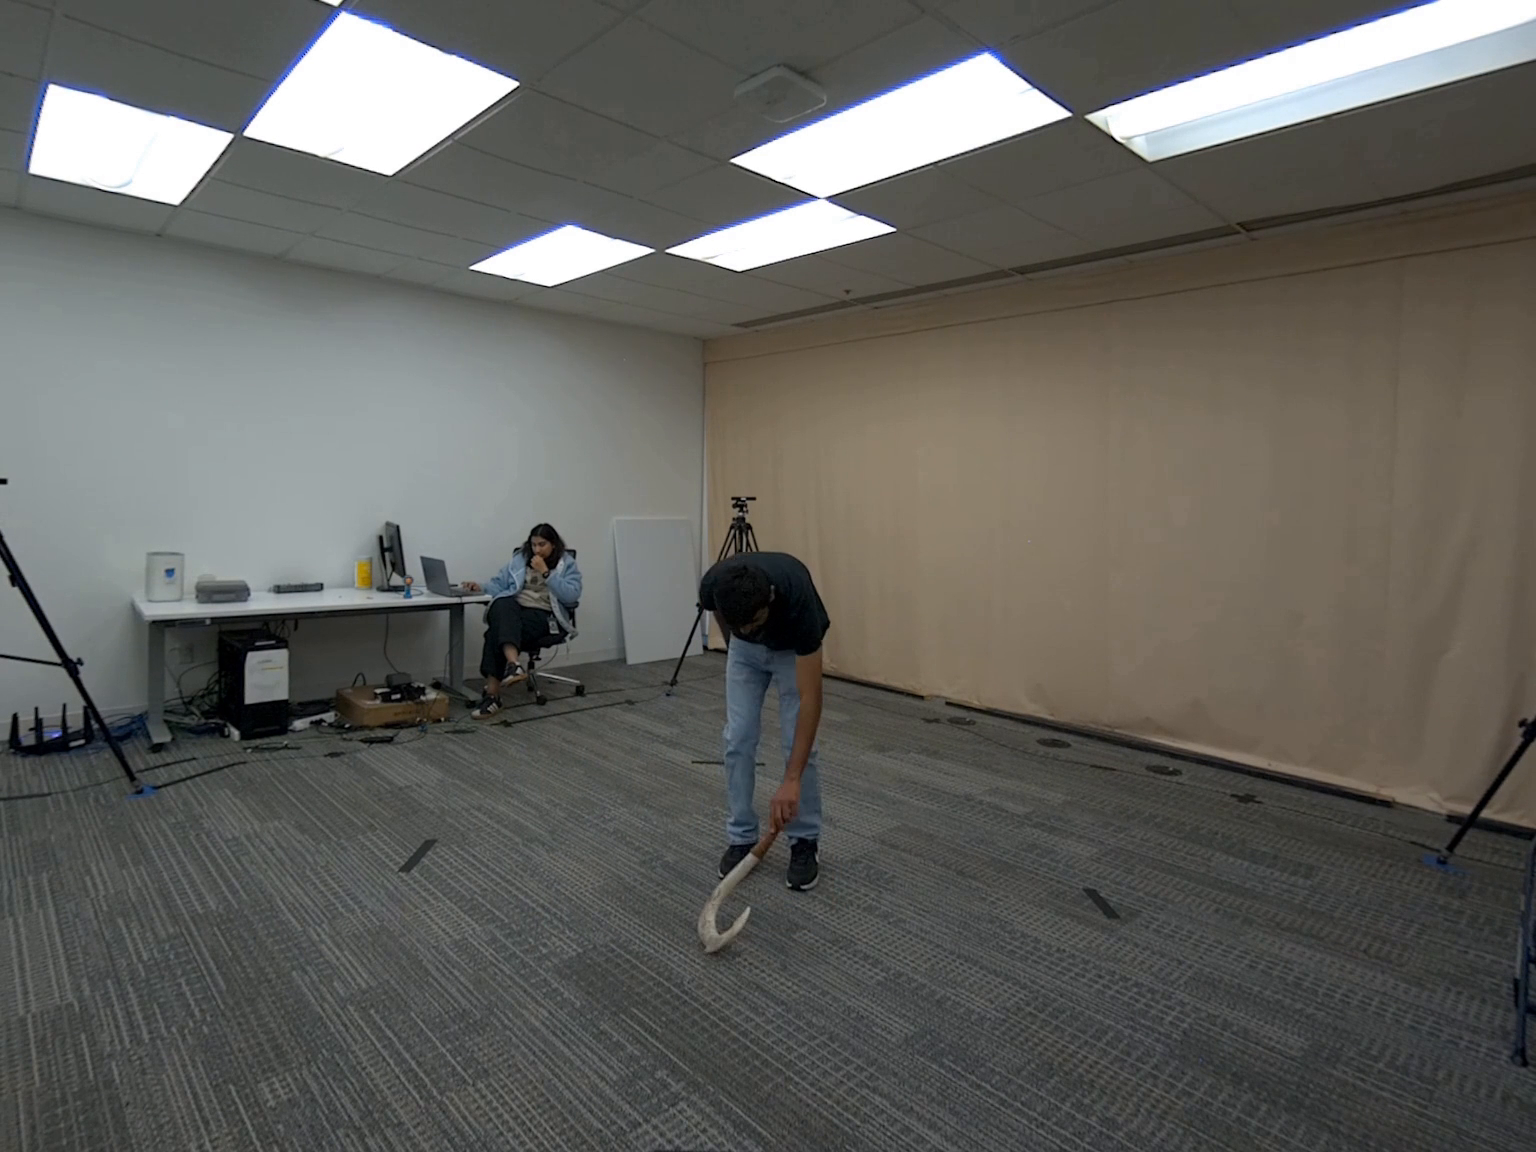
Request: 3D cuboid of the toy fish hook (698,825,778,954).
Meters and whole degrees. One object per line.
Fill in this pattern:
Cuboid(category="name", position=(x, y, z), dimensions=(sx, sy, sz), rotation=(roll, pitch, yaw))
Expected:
Cuboid(category="toy fish hook", position=(-0.056, 0.951, 2.614), dimensions=(0.047, 0.507, 0.230), rotation=(36, -2, -27))
